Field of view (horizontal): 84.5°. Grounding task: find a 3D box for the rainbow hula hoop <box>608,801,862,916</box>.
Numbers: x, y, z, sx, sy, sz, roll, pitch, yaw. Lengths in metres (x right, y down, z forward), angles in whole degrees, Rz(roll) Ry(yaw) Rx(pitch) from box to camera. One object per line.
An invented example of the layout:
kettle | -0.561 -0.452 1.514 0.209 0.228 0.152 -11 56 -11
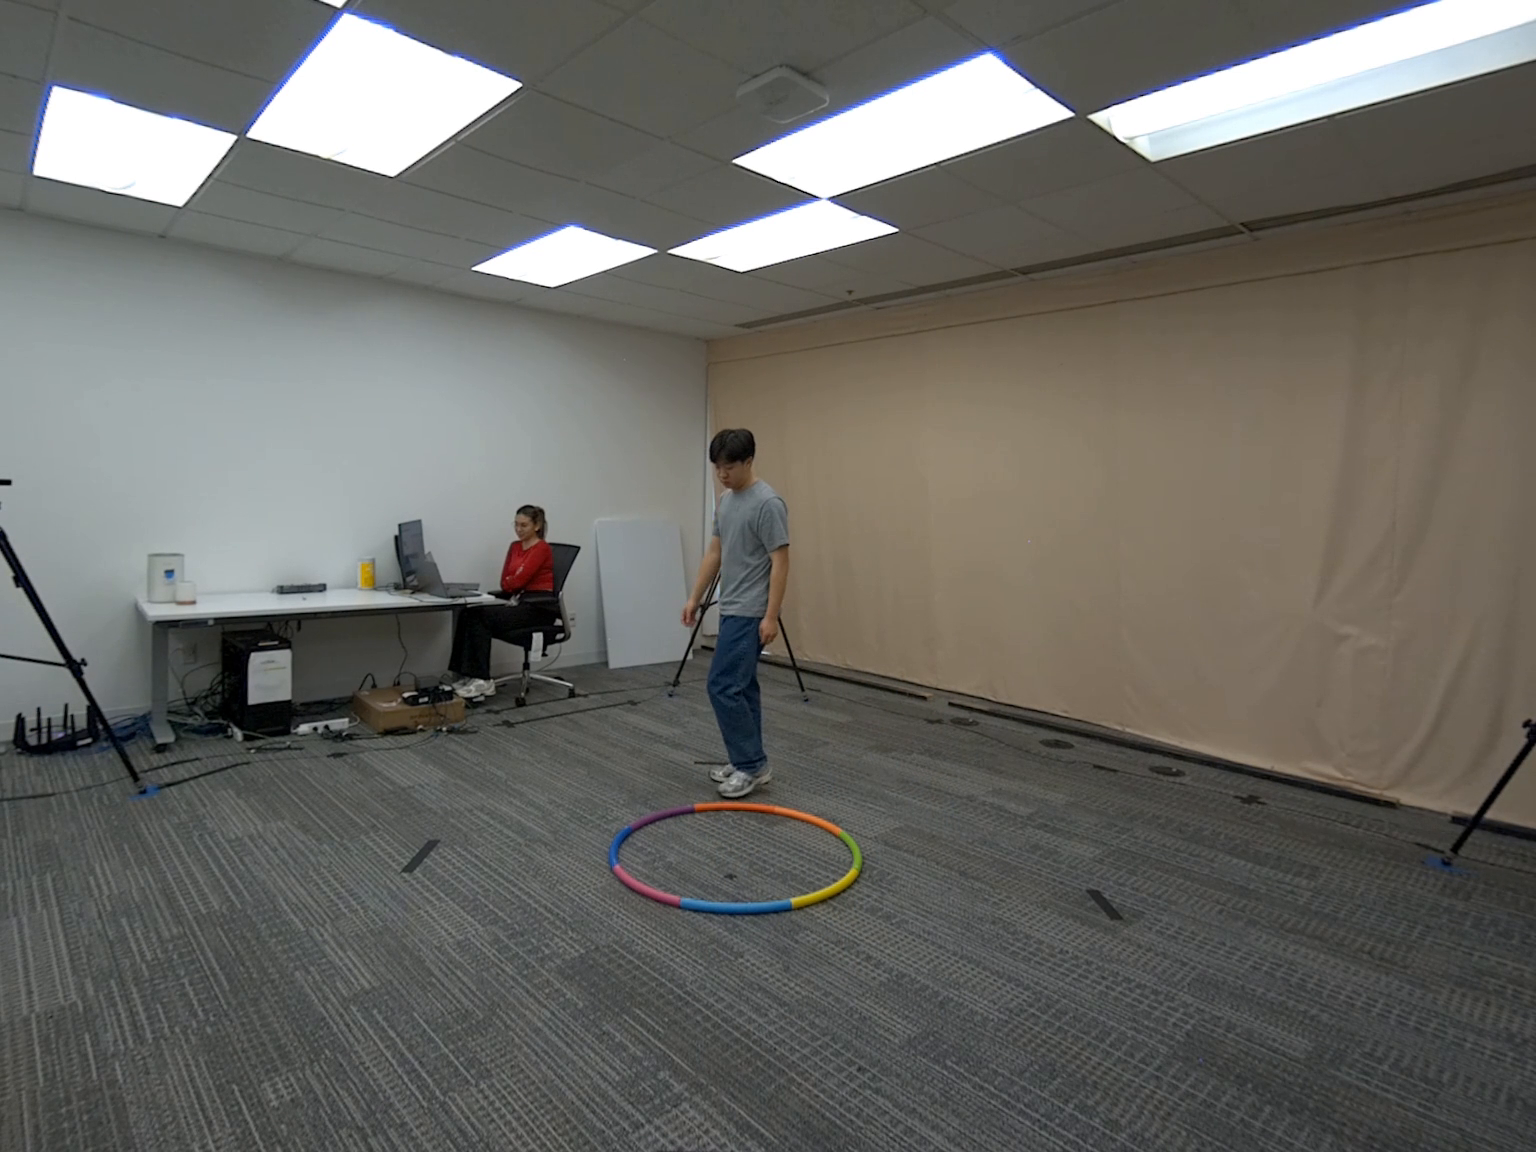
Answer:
rainbow hula hoop | -0.140 1.057 3.303 0.978 0.035 0.982 1 5 -1
